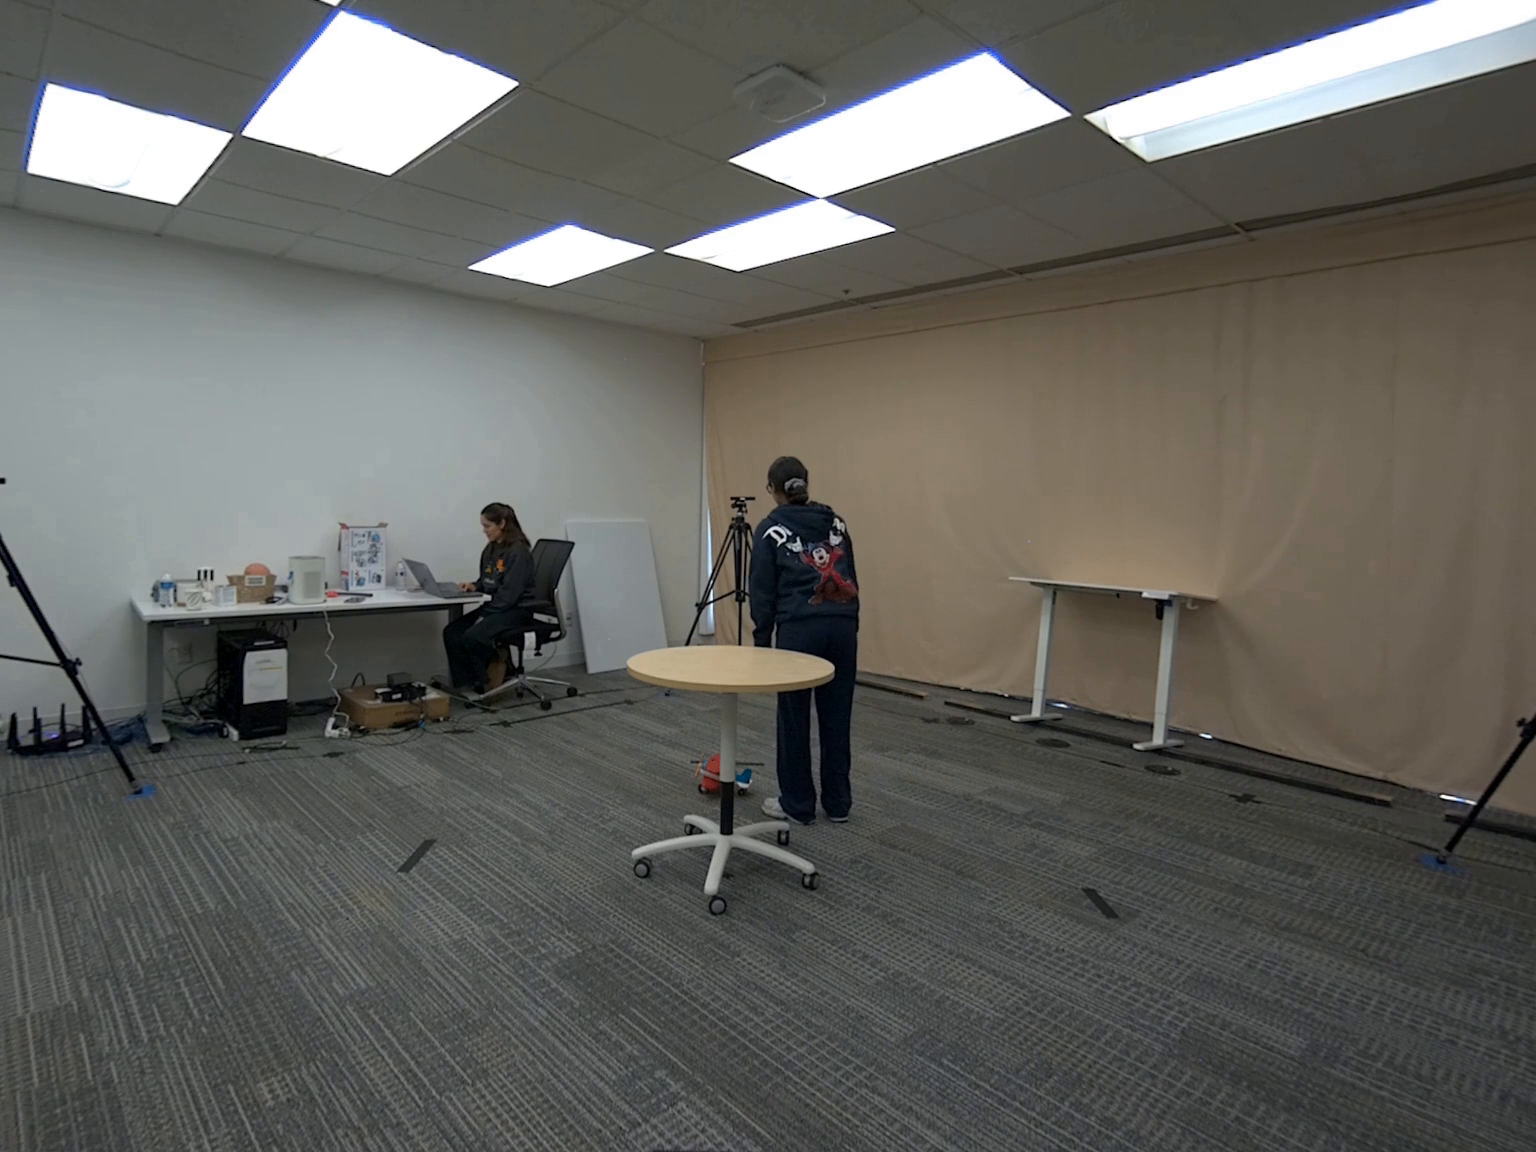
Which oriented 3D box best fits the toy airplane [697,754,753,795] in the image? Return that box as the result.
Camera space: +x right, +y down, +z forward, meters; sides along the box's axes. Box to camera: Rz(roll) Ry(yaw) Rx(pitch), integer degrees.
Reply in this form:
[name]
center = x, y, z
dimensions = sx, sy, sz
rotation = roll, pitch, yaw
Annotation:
[toy airplane]
center = -0.219, 0.947, 4.015
dimensions = 0.256, 0.156, 0.255
rotation = 0, 5, -16
